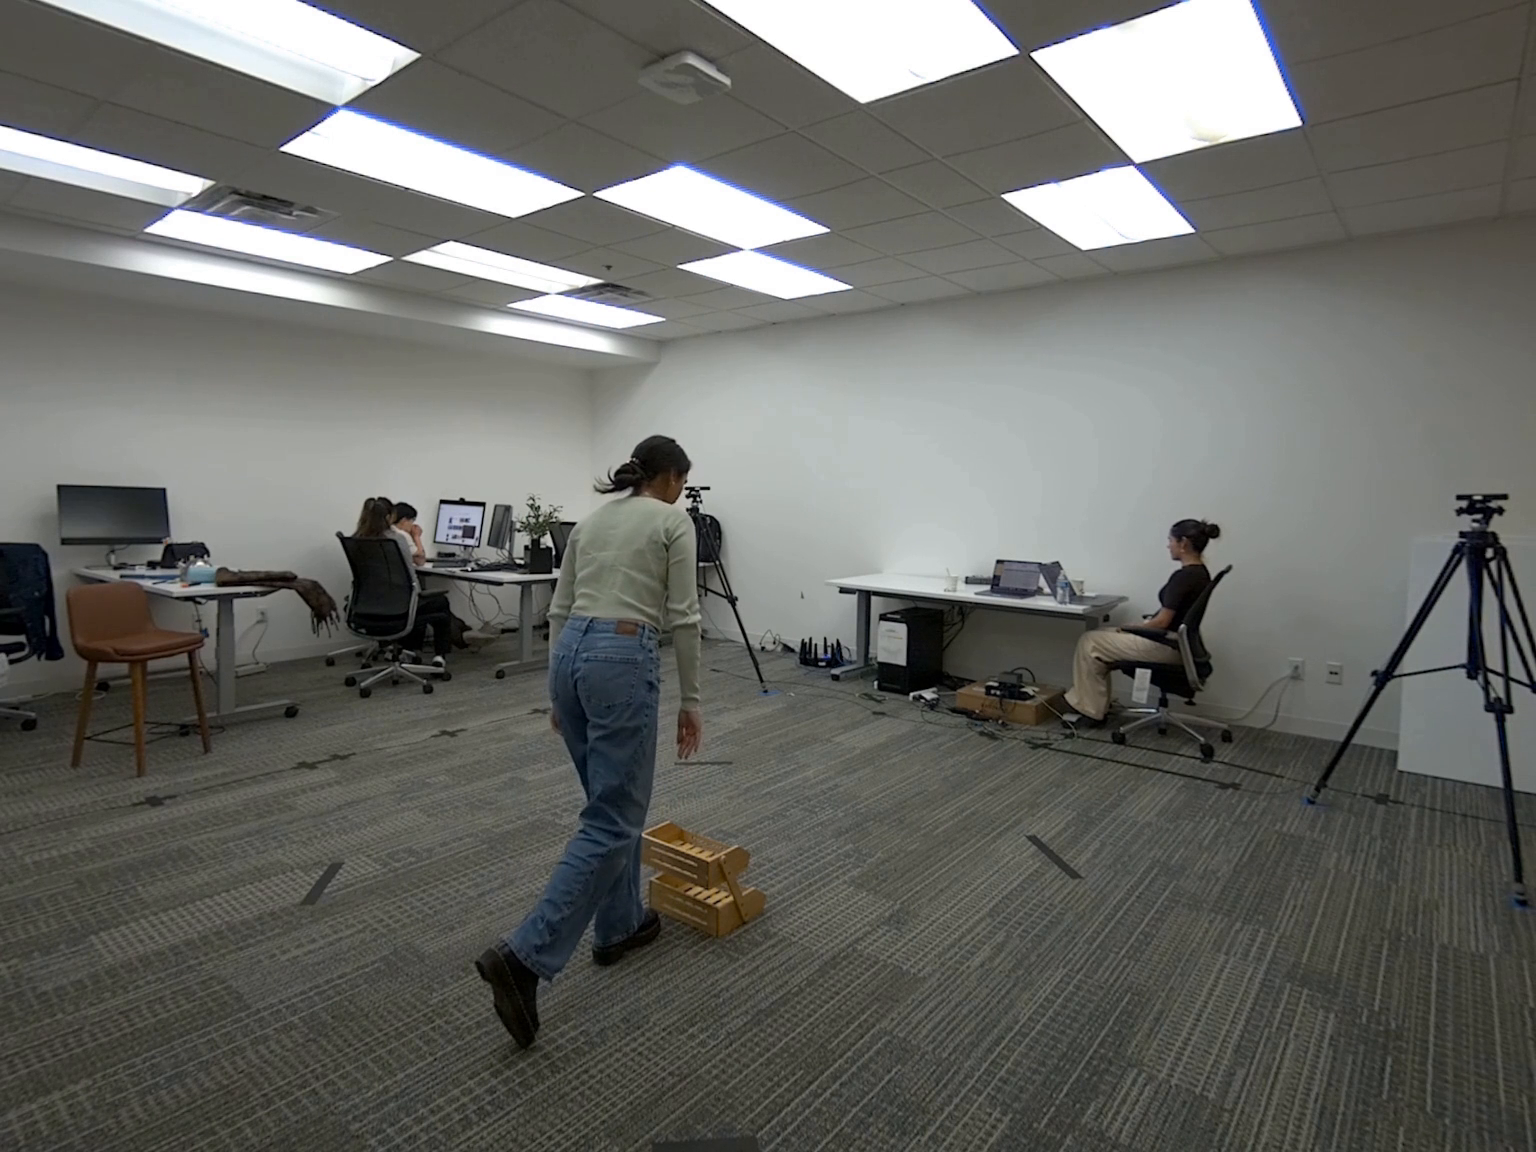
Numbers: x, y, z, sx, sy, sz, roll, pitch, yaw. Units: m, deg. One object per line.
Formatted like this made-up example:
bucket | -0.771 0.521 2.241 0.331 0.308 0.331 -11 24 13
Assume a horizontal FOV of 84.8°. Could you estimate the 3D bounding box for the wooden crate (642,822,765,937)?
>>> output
wooden crate | -0.220 0.962 2.785 0.335 0.272 0.293 4 5 37
